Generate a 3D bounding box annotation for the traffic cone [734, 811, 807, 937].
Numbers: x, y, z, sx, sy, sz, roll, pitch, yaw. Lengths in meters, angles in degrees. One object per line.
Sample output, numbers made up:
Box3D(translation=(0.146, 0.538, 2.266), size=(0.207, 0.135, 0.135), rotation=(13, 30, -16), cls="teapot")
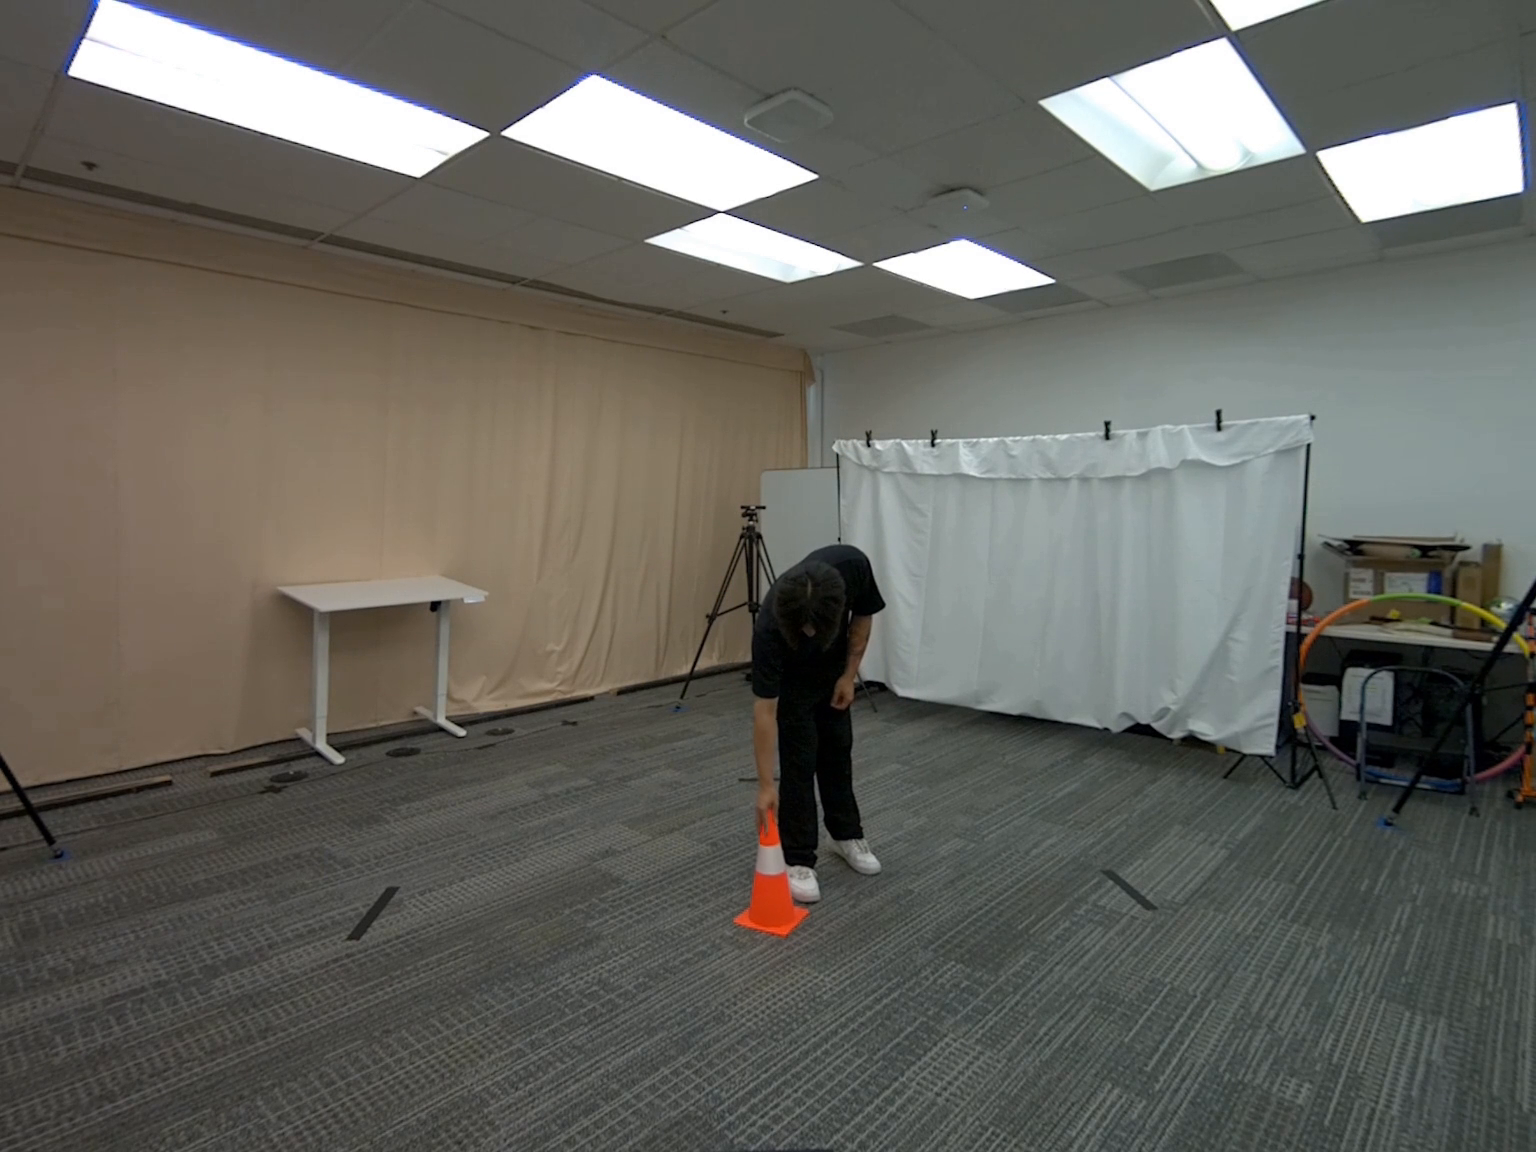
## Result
Box3D(translation=(0.008, 0.970, 2.843), size=(0.211, 0.383, 0.197), rotation=(-2, 1, 44), cls="traffic cone")
